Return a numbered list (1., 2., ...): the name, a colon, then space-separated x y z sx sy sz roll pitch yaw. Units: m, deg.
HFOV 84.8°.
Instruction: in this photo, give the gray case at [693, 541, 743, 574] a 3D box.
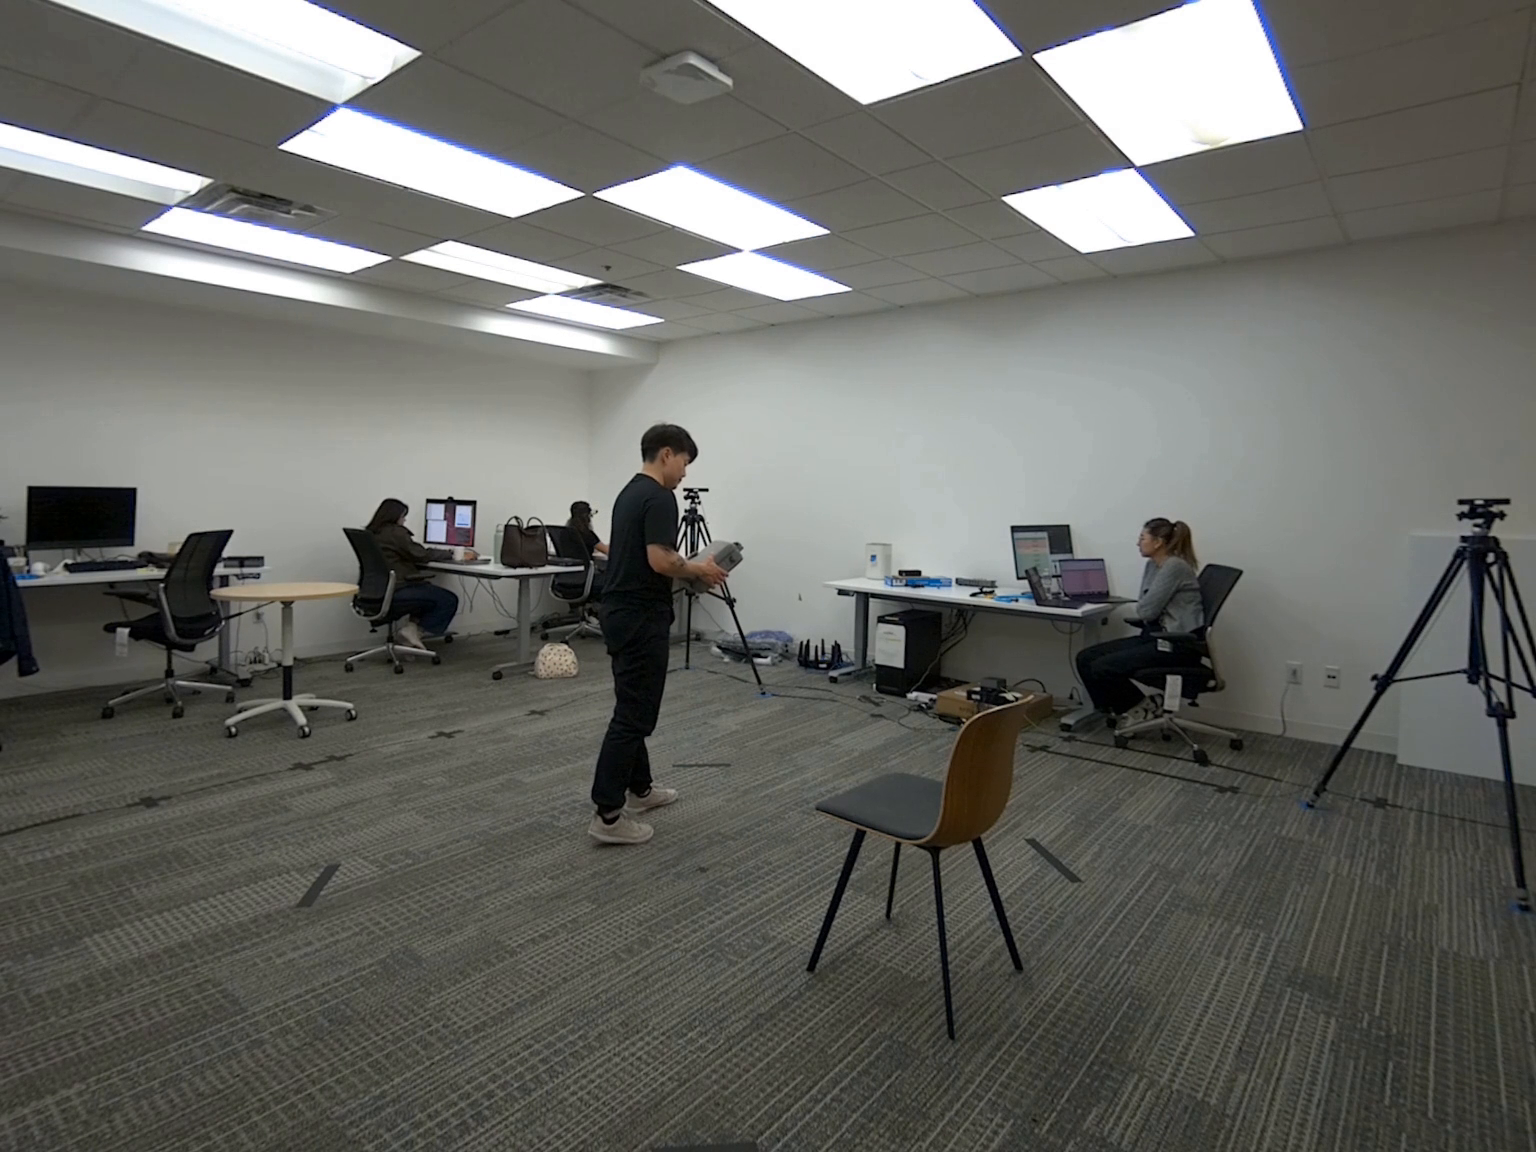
1. gray case: -0.264 -0.049 3.668 0.260 0.102 0.263 -39 16 -13
